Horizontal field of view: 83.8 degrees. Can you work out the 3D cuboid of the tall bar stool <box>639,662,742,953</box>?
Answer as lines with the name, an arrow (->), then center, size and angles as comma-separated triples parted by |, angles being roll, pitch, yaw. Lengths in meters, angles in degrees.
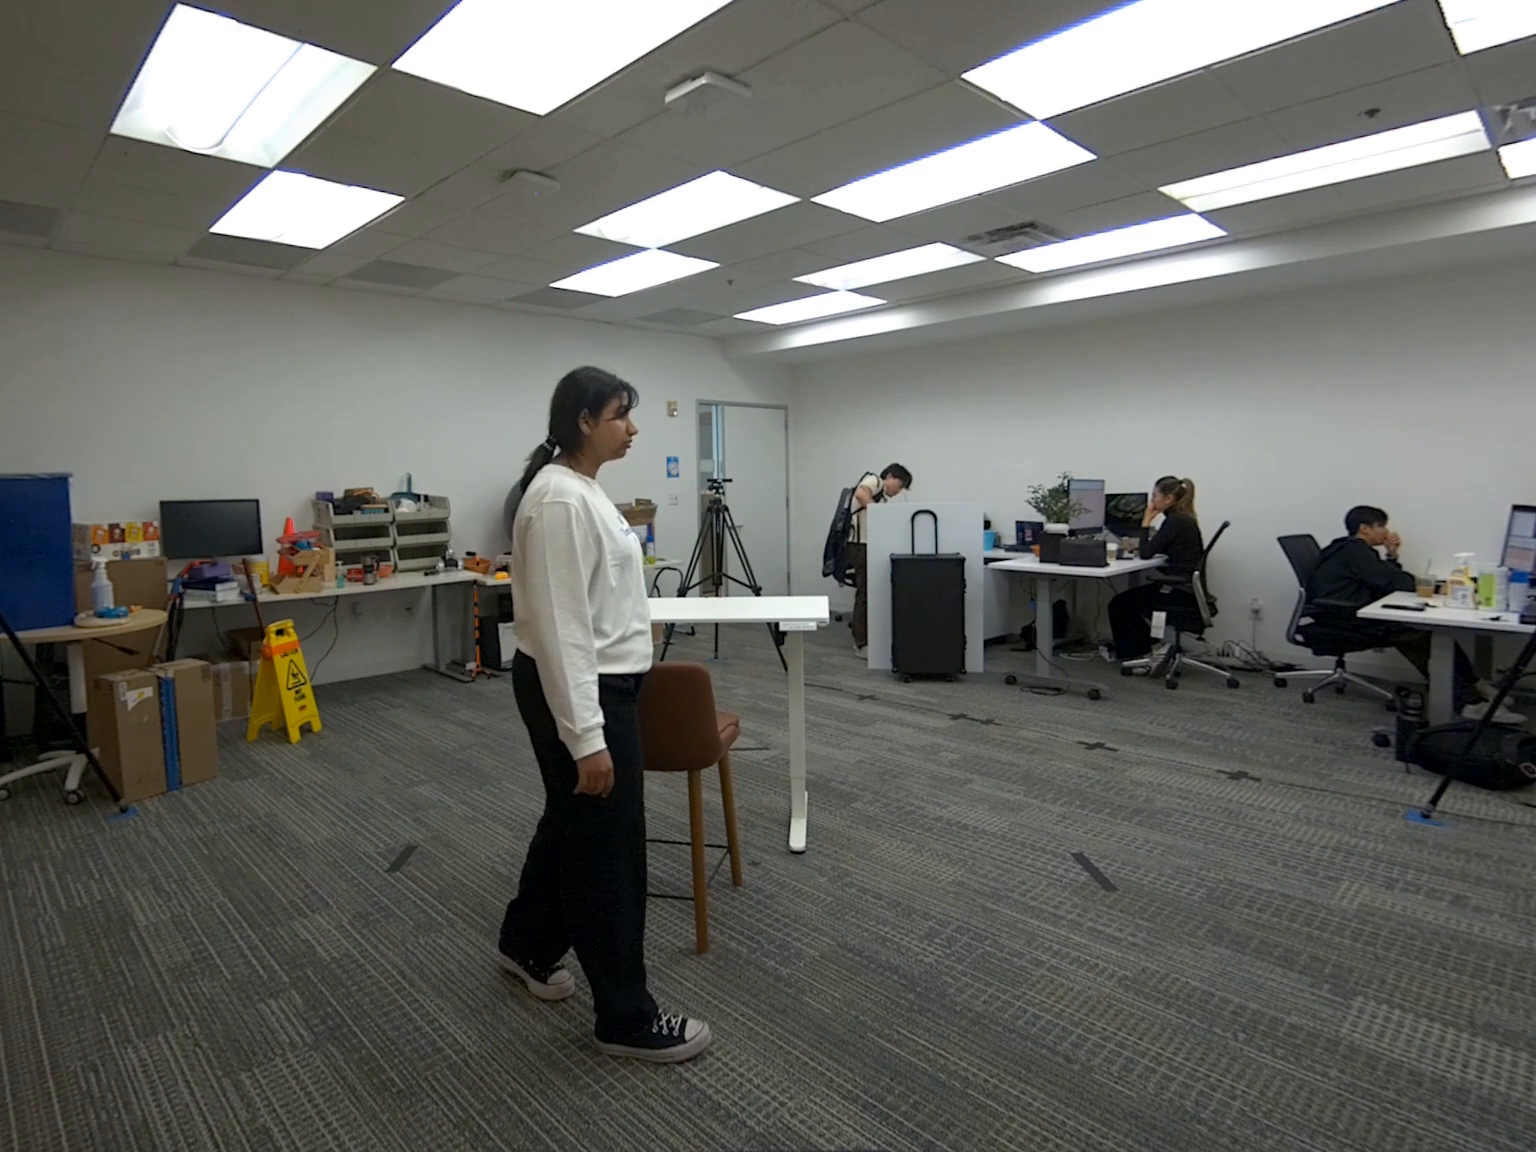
tall bar stool -> -0.330, 0.655, 2.746 | 0.462, 0.884, 0.464 | 0, 7, 13
